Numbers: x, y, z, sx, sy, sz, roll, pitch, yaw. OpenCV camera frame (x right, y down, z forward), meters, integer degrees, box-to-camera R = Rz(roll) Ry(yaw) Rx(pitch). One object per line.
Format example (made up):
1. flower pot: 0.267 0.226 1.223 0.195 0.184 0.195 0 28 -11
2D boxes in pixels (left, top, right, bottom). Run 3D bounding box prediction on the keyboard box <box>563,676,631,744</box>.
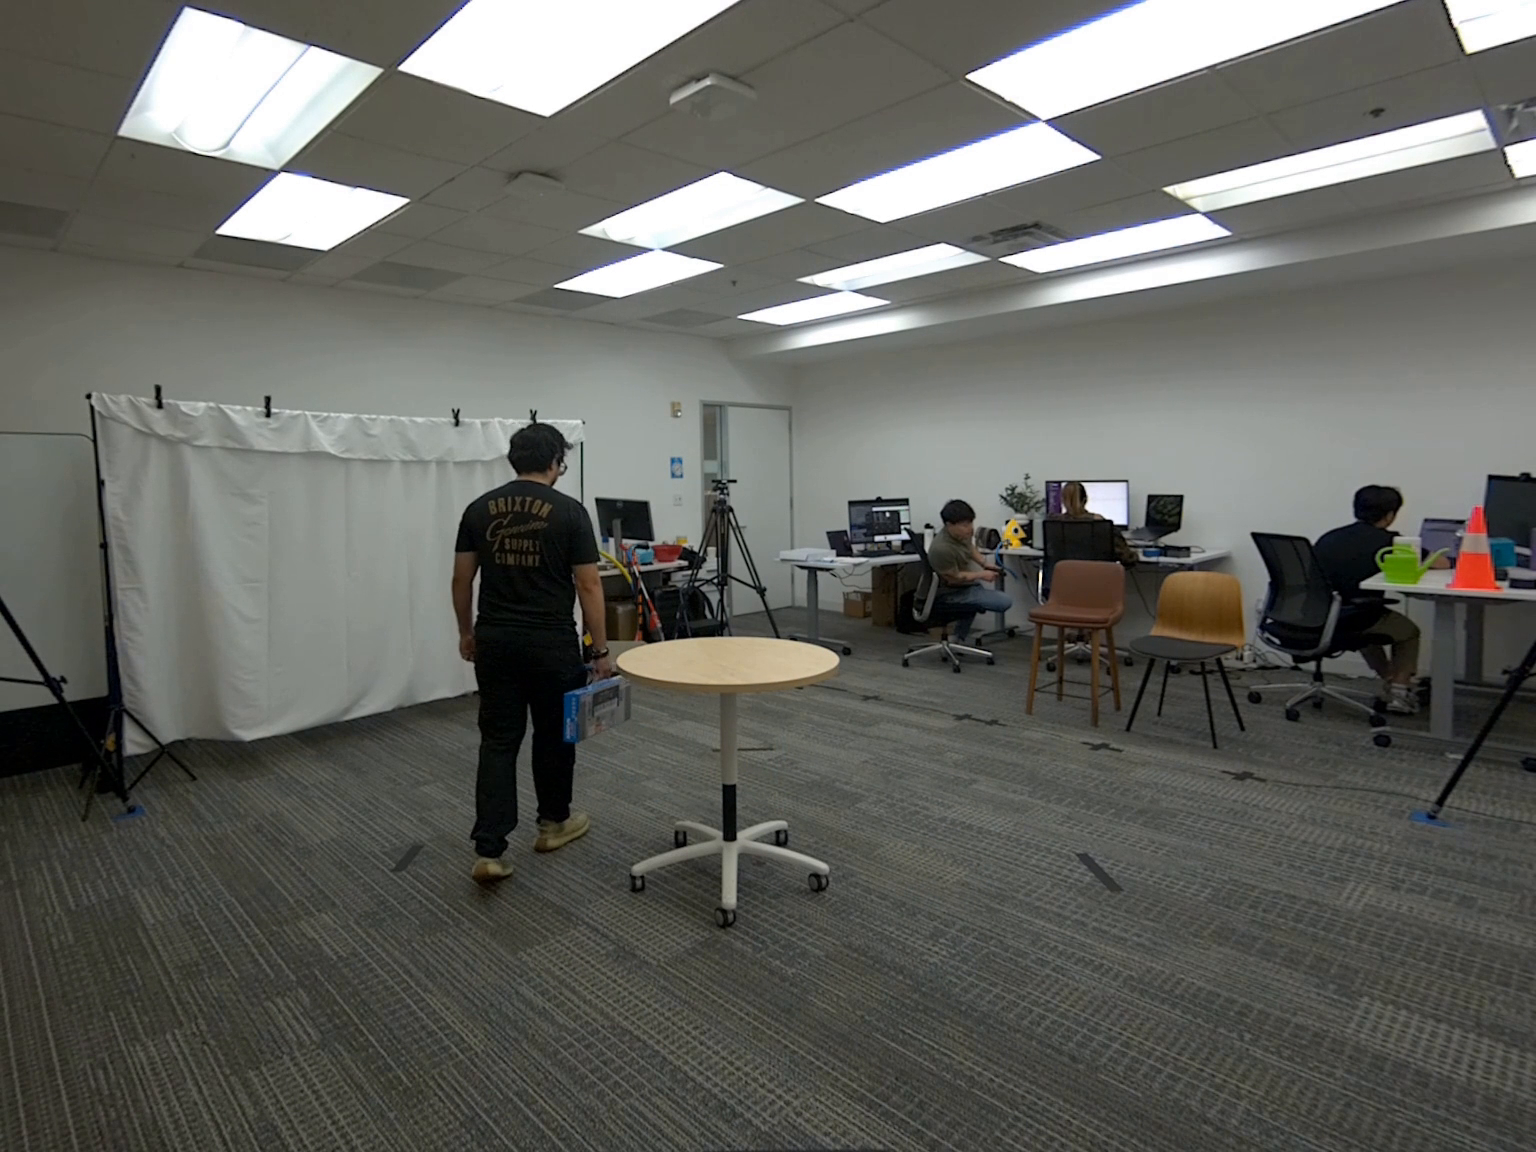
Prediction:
1. keyboard box: -0.630 0.483 3.215 0.060 0.176 0.429 1 1 16
